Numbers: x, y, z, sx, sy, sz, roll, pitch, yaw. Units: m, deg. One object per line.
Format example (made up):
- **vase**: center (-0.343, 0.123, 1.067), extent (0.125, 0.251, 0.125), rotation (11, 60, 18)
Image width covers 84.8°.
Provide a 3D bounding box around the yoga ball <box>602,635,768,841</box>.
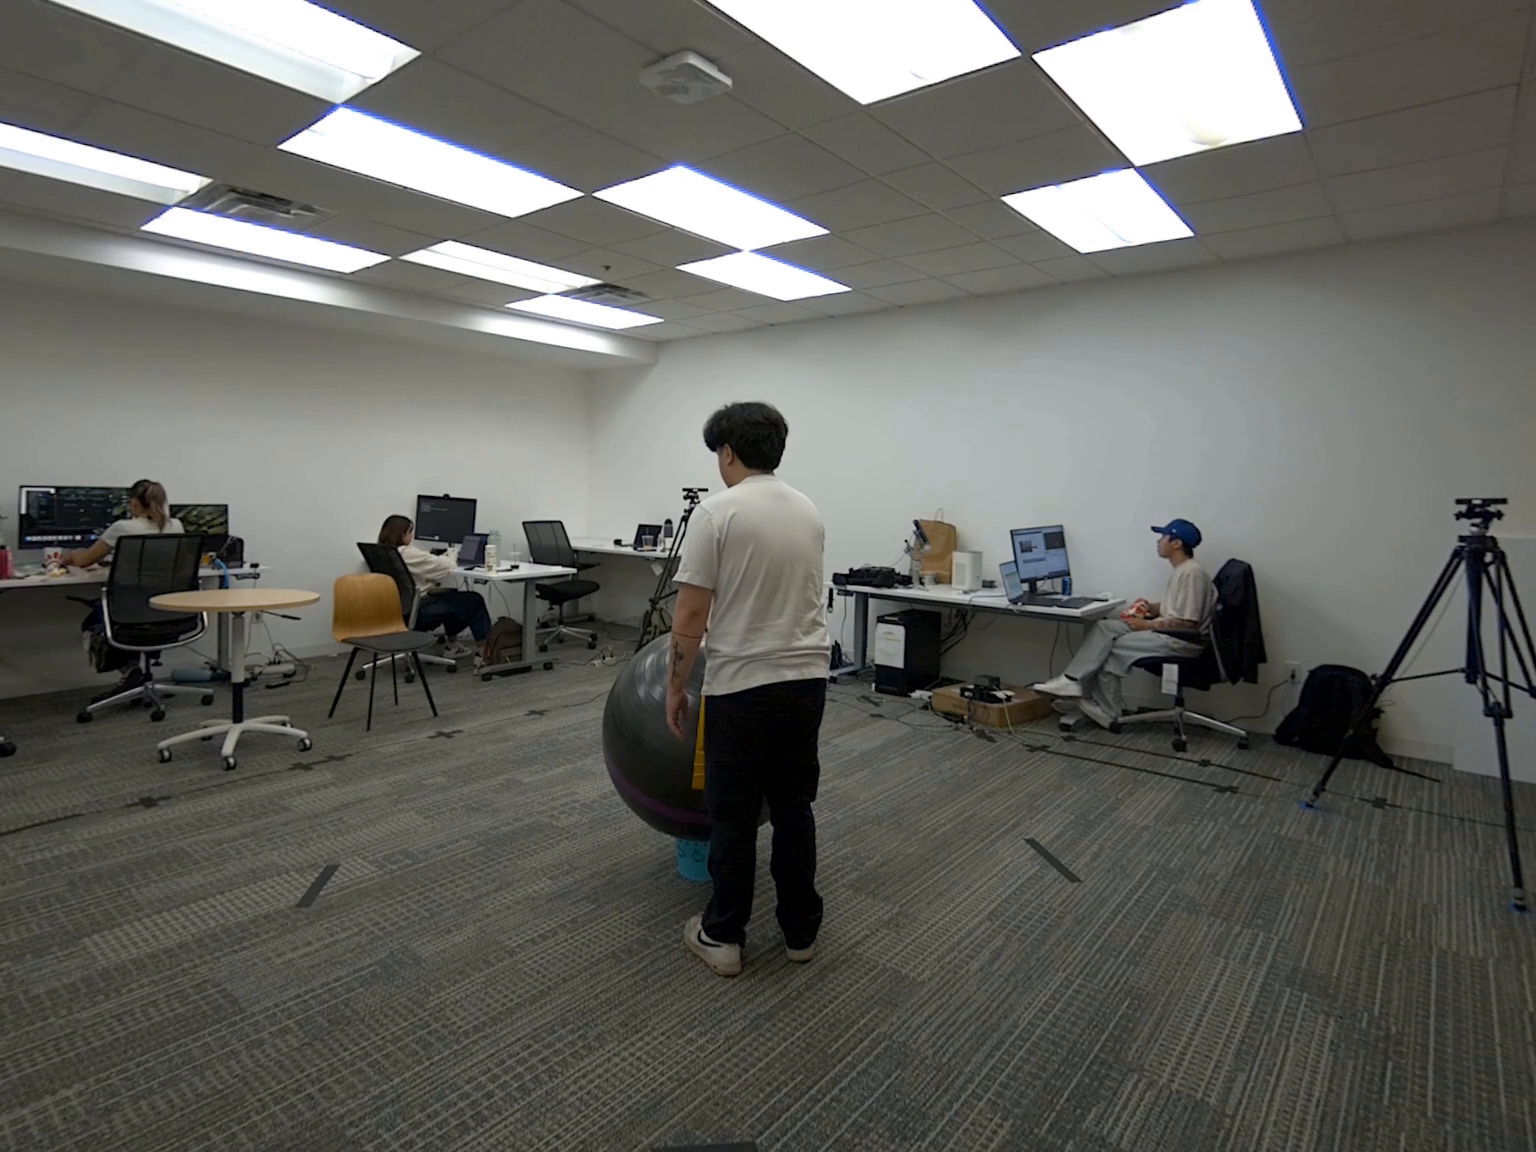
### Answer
- **yoga ball**: center (-0.227, 0.564, 3.088), extent (0.757, 0.756, 0.761), rotation (1, 4, -2)
